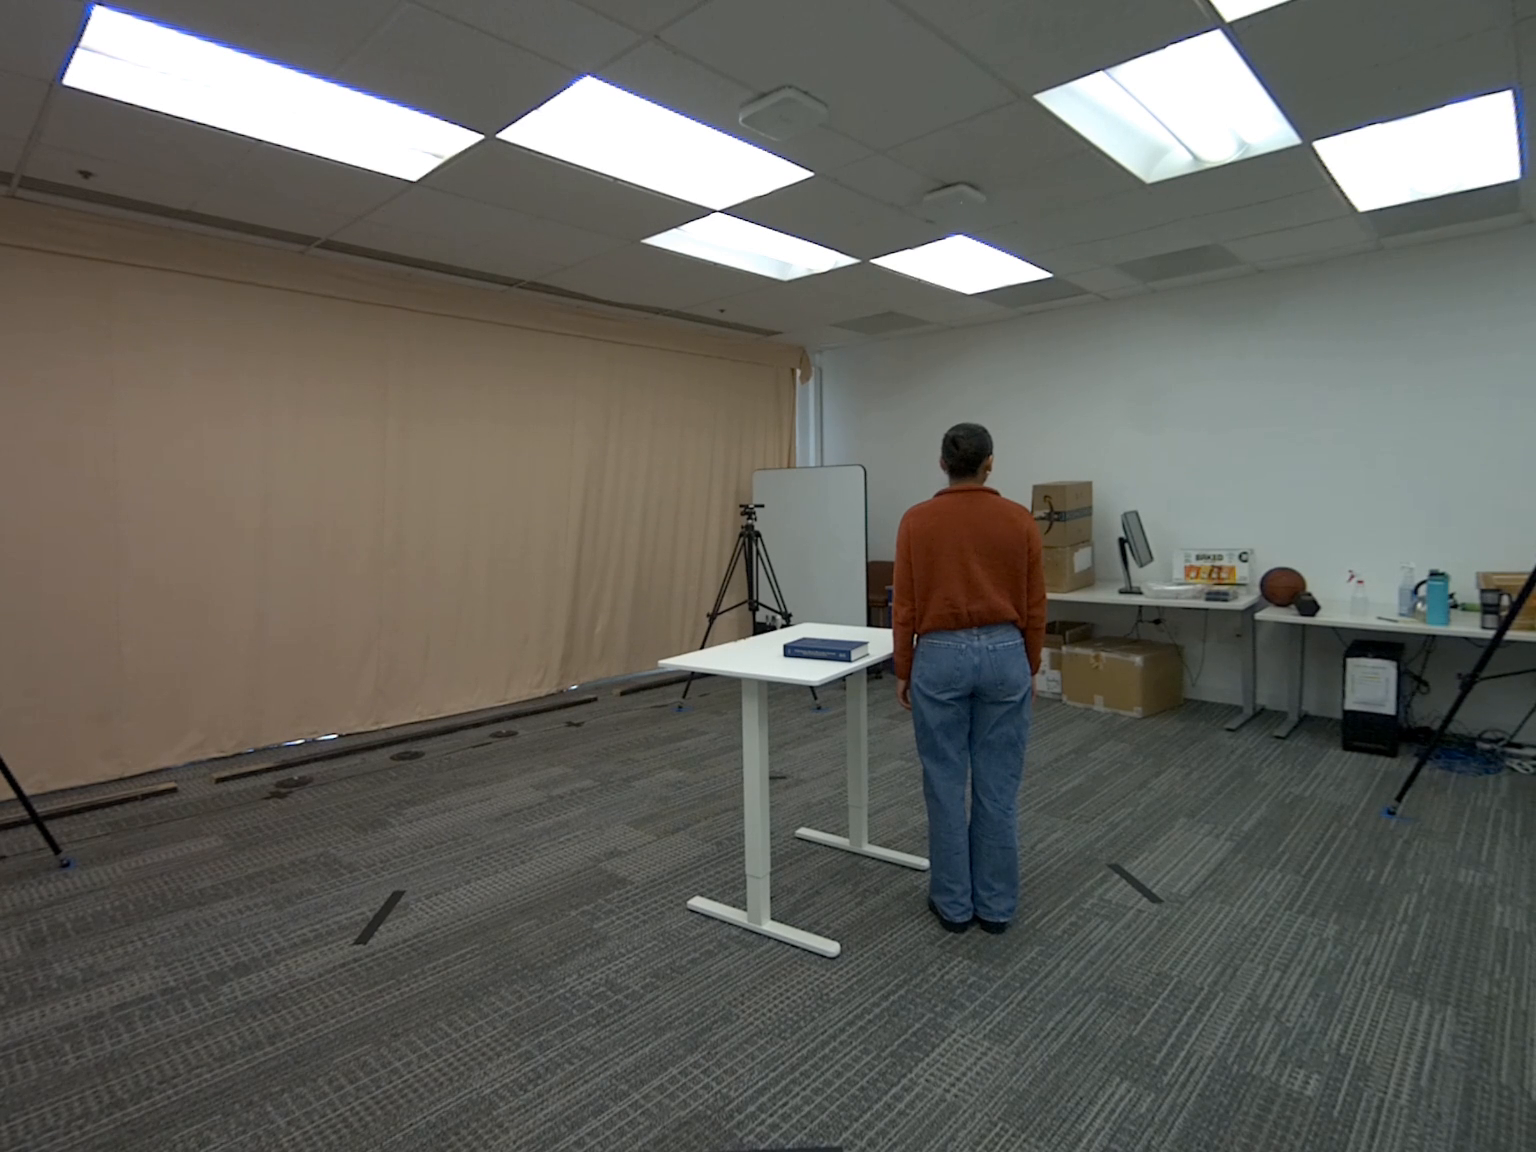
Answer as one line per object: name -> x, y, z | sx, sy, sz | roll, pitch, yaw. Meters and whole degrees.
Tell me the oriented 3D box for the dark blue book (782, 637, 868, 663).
dark blue book -> 0.198, 0.247, 2.828 | 0.252, 0.045, 0.159 | 2, 6, 29
